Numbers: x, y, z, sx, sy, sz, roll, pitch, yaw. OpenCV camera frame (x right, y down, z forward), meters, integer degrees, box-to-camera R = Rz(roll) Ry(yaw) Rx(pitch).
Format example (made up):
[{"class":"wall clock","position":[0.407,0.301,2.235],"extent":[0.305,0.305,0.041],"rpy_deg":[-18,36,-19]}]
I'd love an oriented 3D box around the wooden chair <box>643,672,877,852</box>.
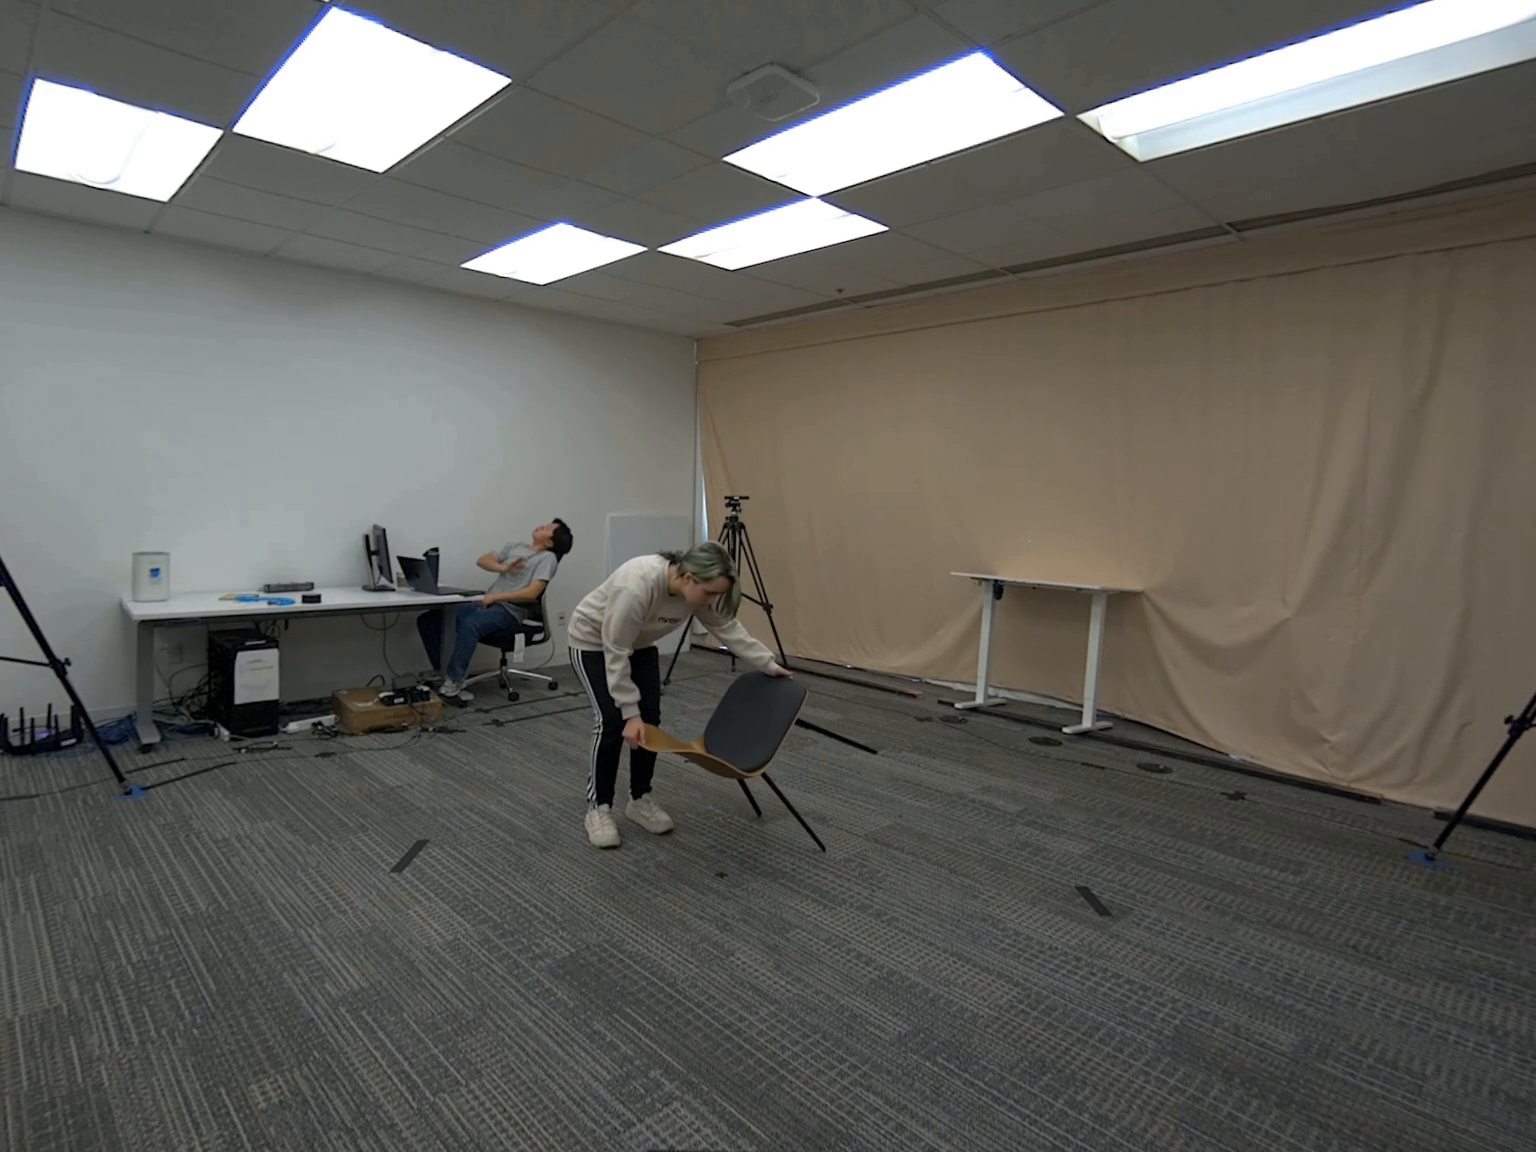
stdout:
[{"class":"wooden chair","position":[-0.064,0.638,3.384],"extent":[0.853,0.525,0.490],"rpy_deg":[38,-17,-31]}]
